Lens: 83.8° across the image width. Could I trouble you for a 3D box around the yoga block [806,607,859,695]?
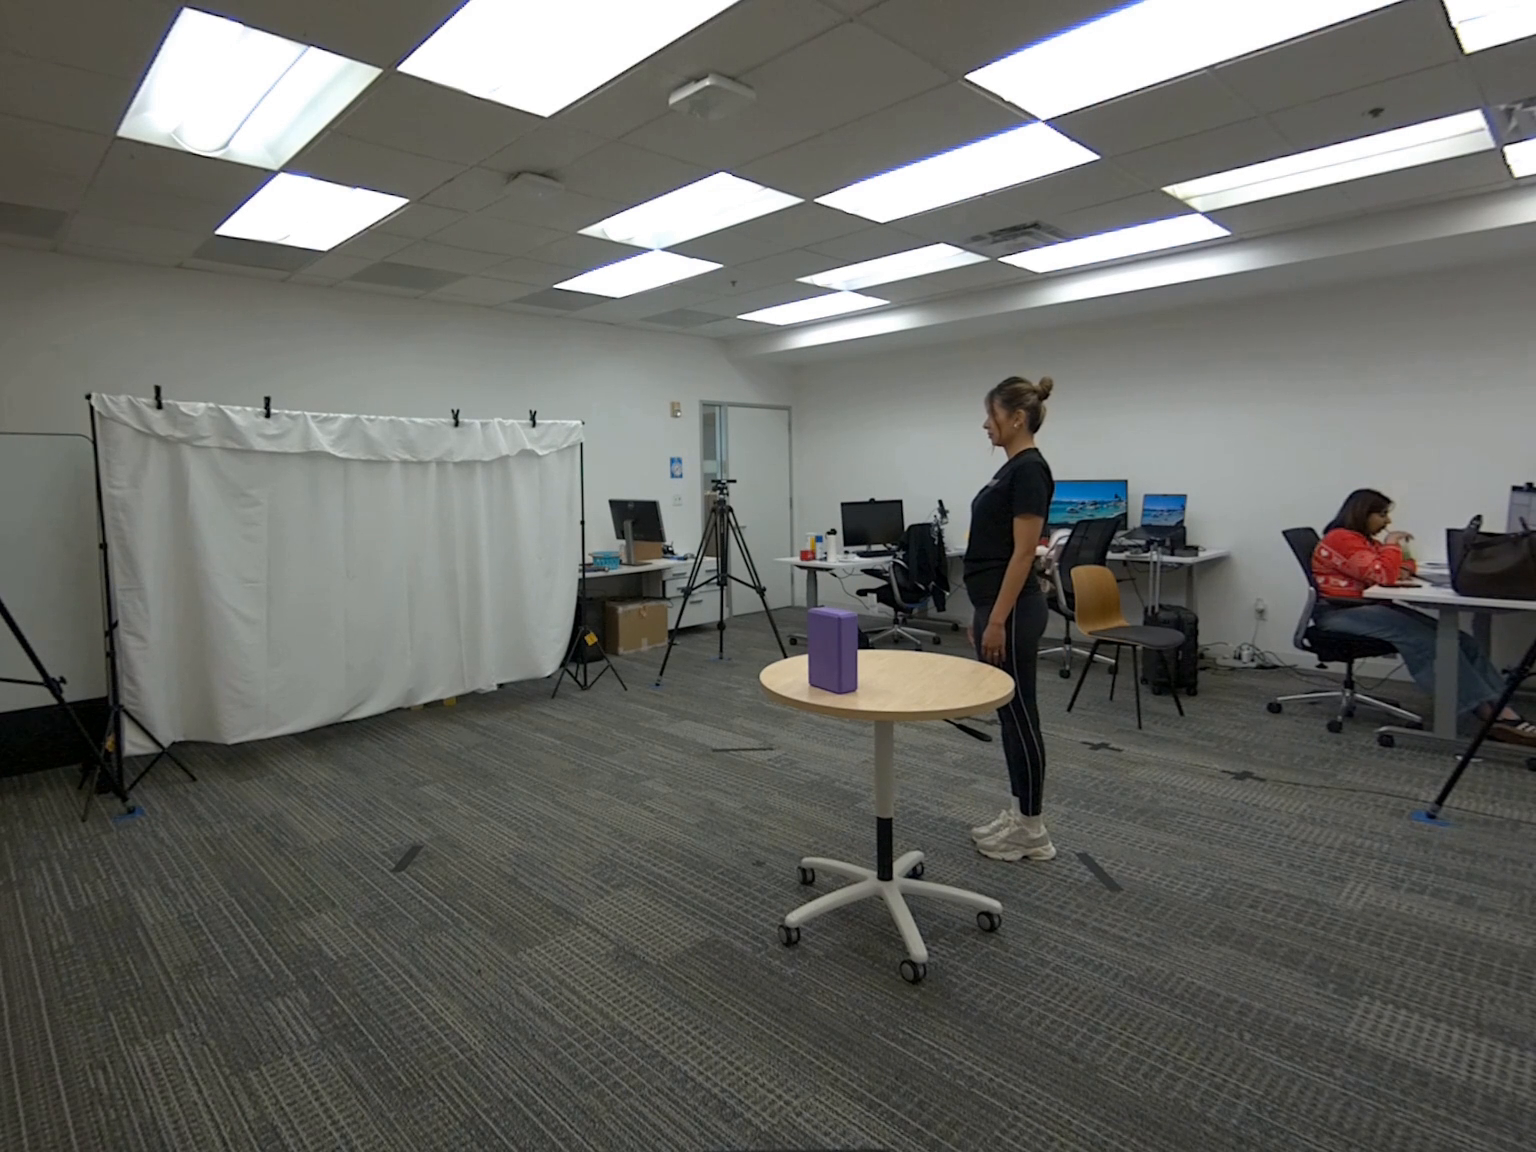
[{"bbox_3d":[0.196,0.215,2.493,0.074,0.228,0.153,-4,6,-34],"label":"yoga block"}]
